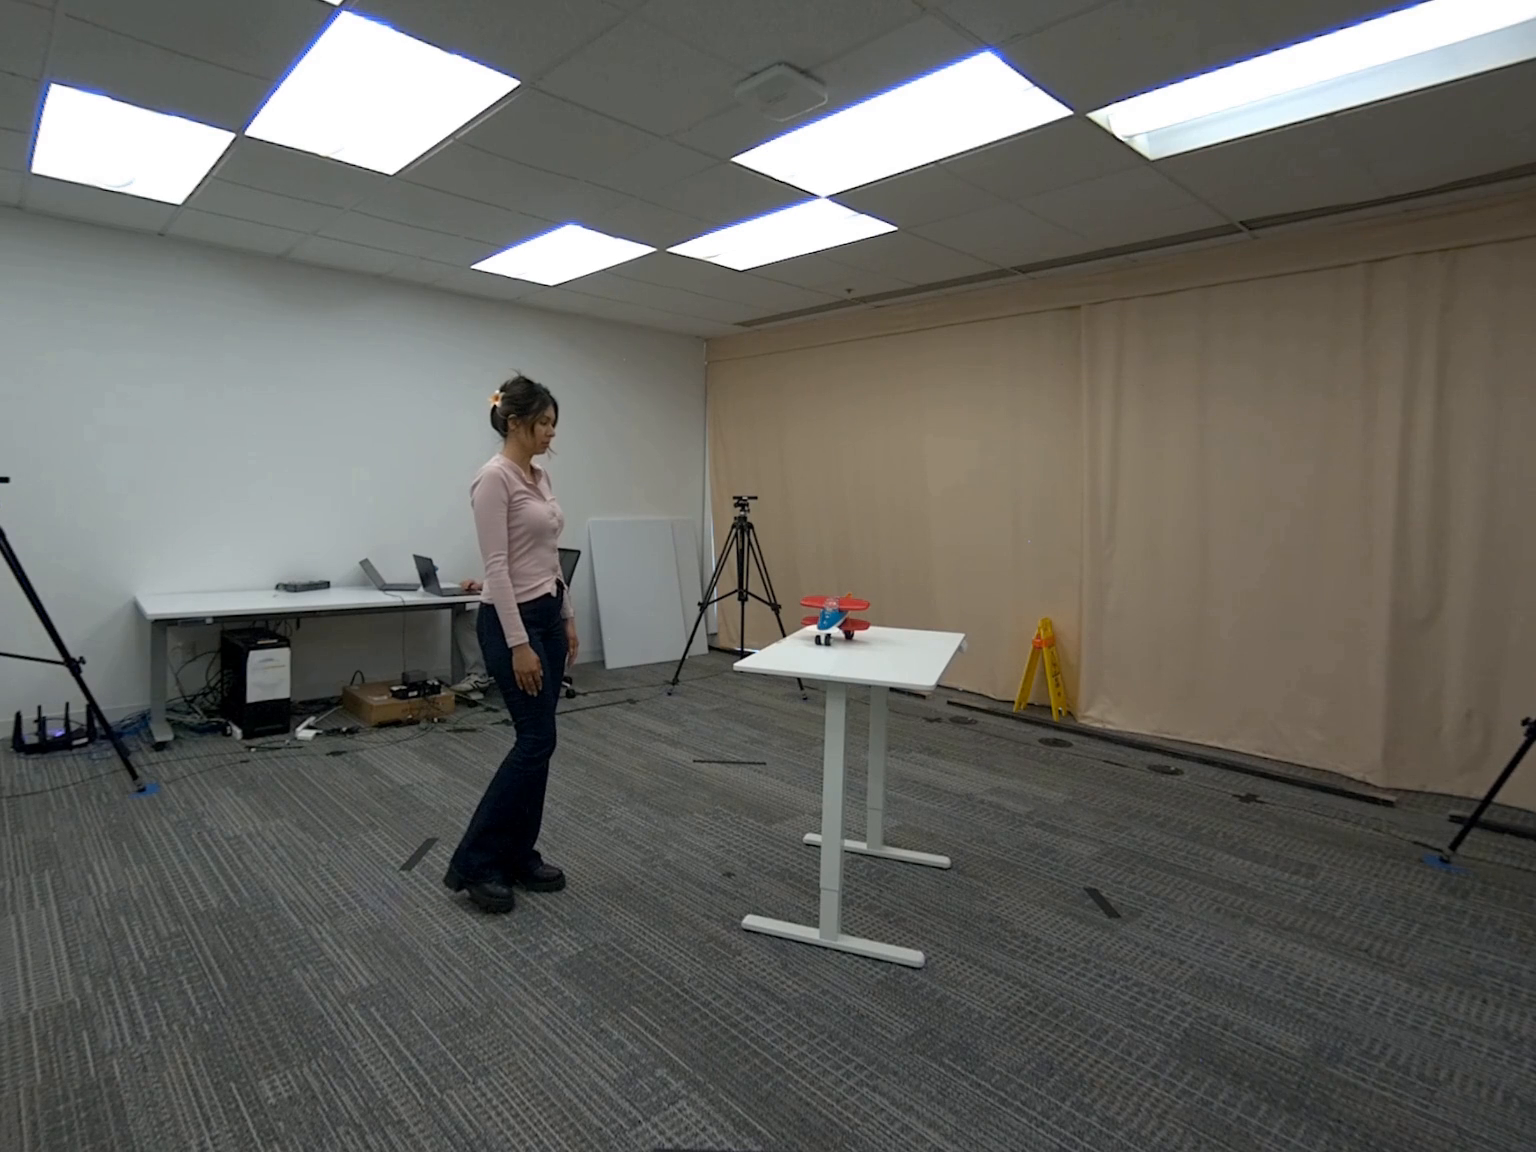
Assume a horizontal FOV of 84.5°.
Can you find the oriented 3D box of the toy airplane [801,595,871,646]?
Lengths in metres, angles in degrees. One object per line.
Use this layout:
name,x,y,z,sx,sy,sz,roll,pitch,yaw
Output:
toy airplane,0.239,0.161,3.027,0.249,0.156,0.261,1,4,-8
